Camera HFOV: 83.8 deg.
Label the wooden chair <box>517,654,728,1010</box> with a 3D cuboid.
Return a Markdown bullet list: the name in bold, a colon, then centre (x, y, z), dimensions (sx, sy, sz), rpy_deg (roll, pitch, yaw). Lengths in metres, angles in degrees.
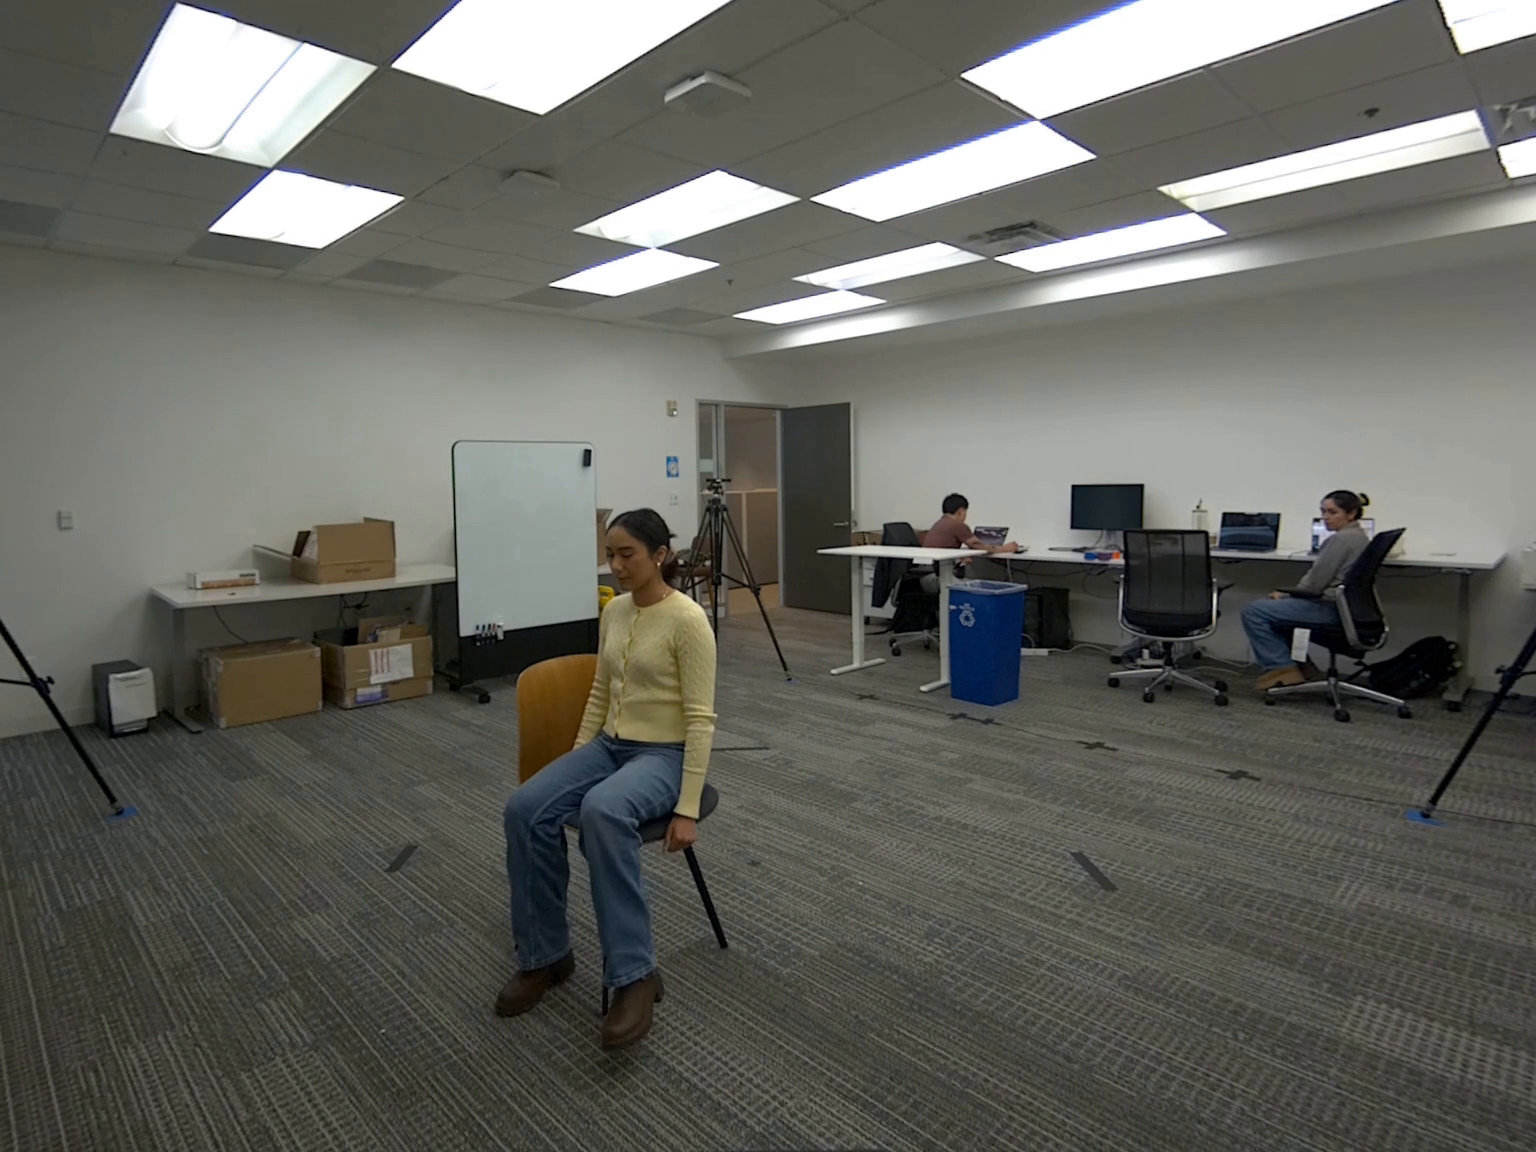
- **wooden chair**: centre (-0.434, 0.693, 2.525), dimensions (0.538, 0.876, 0.465), rpy_deg (-2, 2, 45)
